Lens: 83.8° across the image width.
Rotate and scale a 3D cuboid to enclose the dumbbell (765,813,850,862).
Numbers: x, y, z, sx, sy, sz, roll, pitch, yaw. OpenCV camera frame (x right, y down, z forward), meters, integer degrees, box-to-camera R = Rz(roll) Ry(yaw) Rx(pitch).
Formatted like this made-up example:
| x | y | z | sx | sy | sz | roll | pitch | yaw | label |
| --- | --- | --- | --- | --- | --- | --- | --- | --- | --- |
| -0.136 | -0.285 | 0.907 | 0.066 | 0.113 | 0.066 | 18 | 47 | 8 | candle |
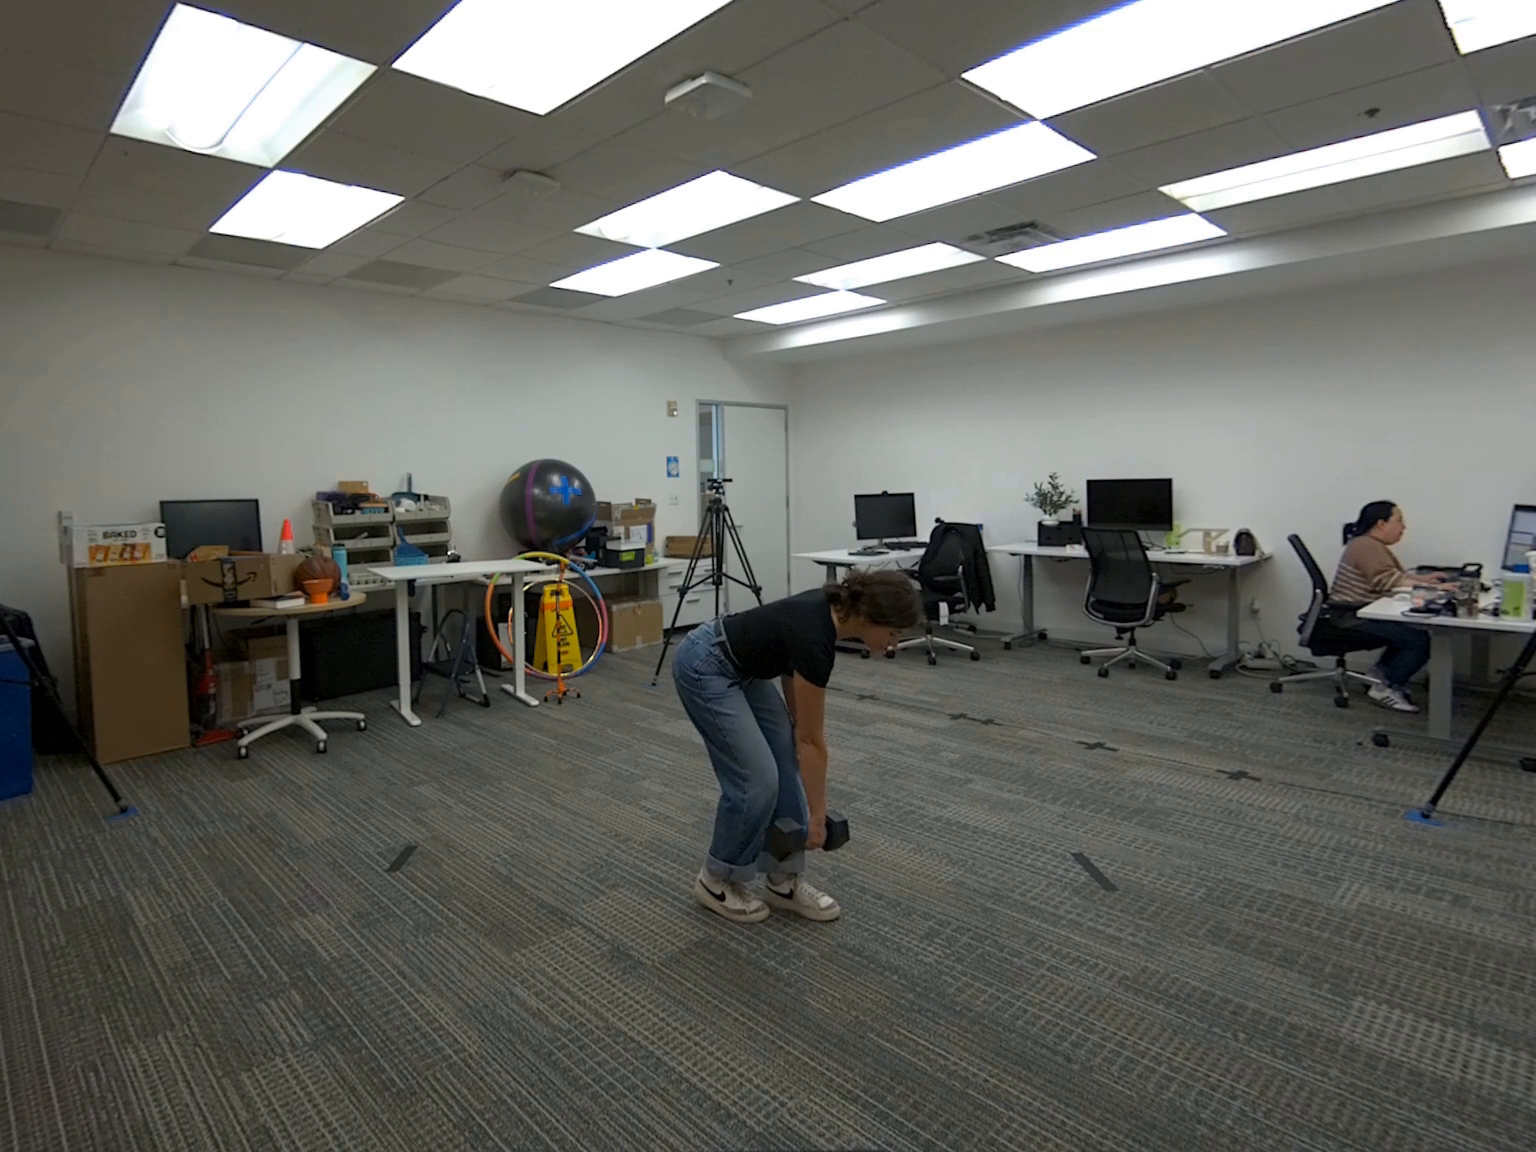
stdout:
| x | y | z | sx | sy | sz | roll | pitch | yaw | label |
| --- | --- | --- | --- | --- | --- | --- | --- | --- | --- |
| 0.115 | 0.794 | 2.653 | 0.284 | 0.112 | 0.123 | 4 | -43 | -45 | dumbbell |
